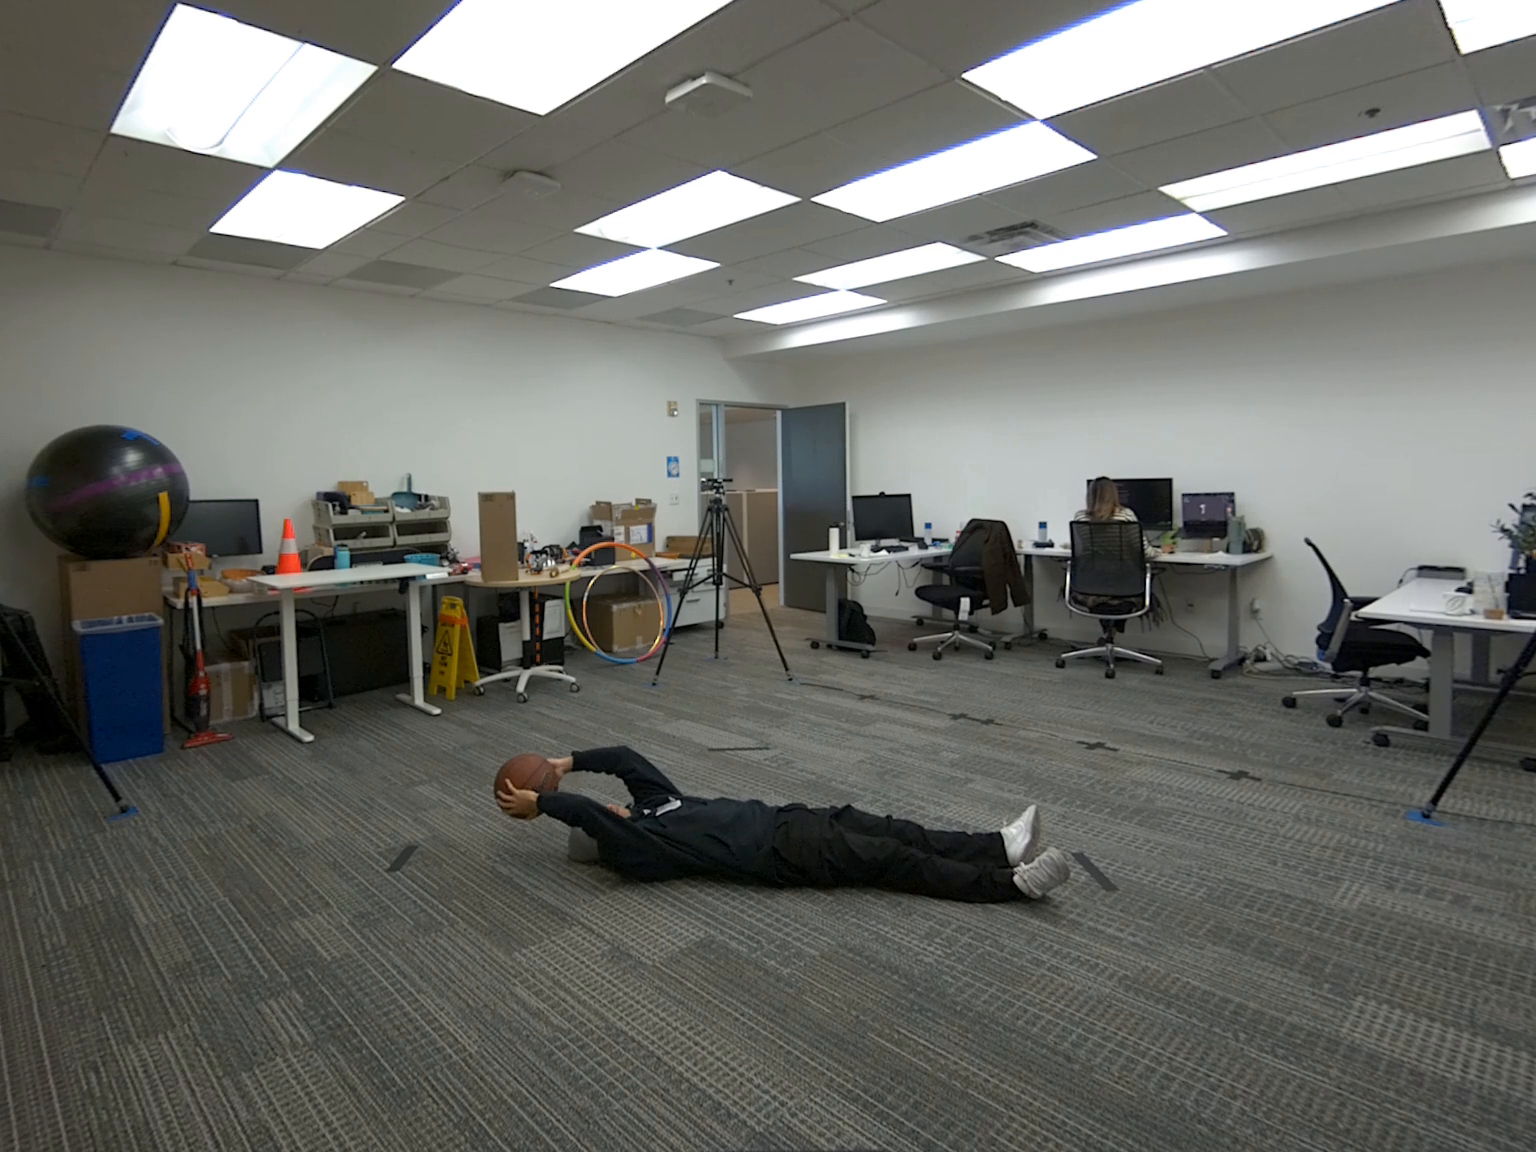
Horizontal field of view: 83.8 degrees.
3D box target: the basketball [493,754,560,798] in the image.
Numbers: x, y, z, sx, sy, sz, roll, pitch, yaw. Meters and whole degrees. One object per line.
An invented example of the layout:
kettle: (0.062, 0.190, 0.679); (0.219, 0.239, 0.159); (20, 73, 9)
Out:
basketball: (-0.912, 0.786, 3.225); (0.236, 0.235, 0.237); (-1, 5, -2)
